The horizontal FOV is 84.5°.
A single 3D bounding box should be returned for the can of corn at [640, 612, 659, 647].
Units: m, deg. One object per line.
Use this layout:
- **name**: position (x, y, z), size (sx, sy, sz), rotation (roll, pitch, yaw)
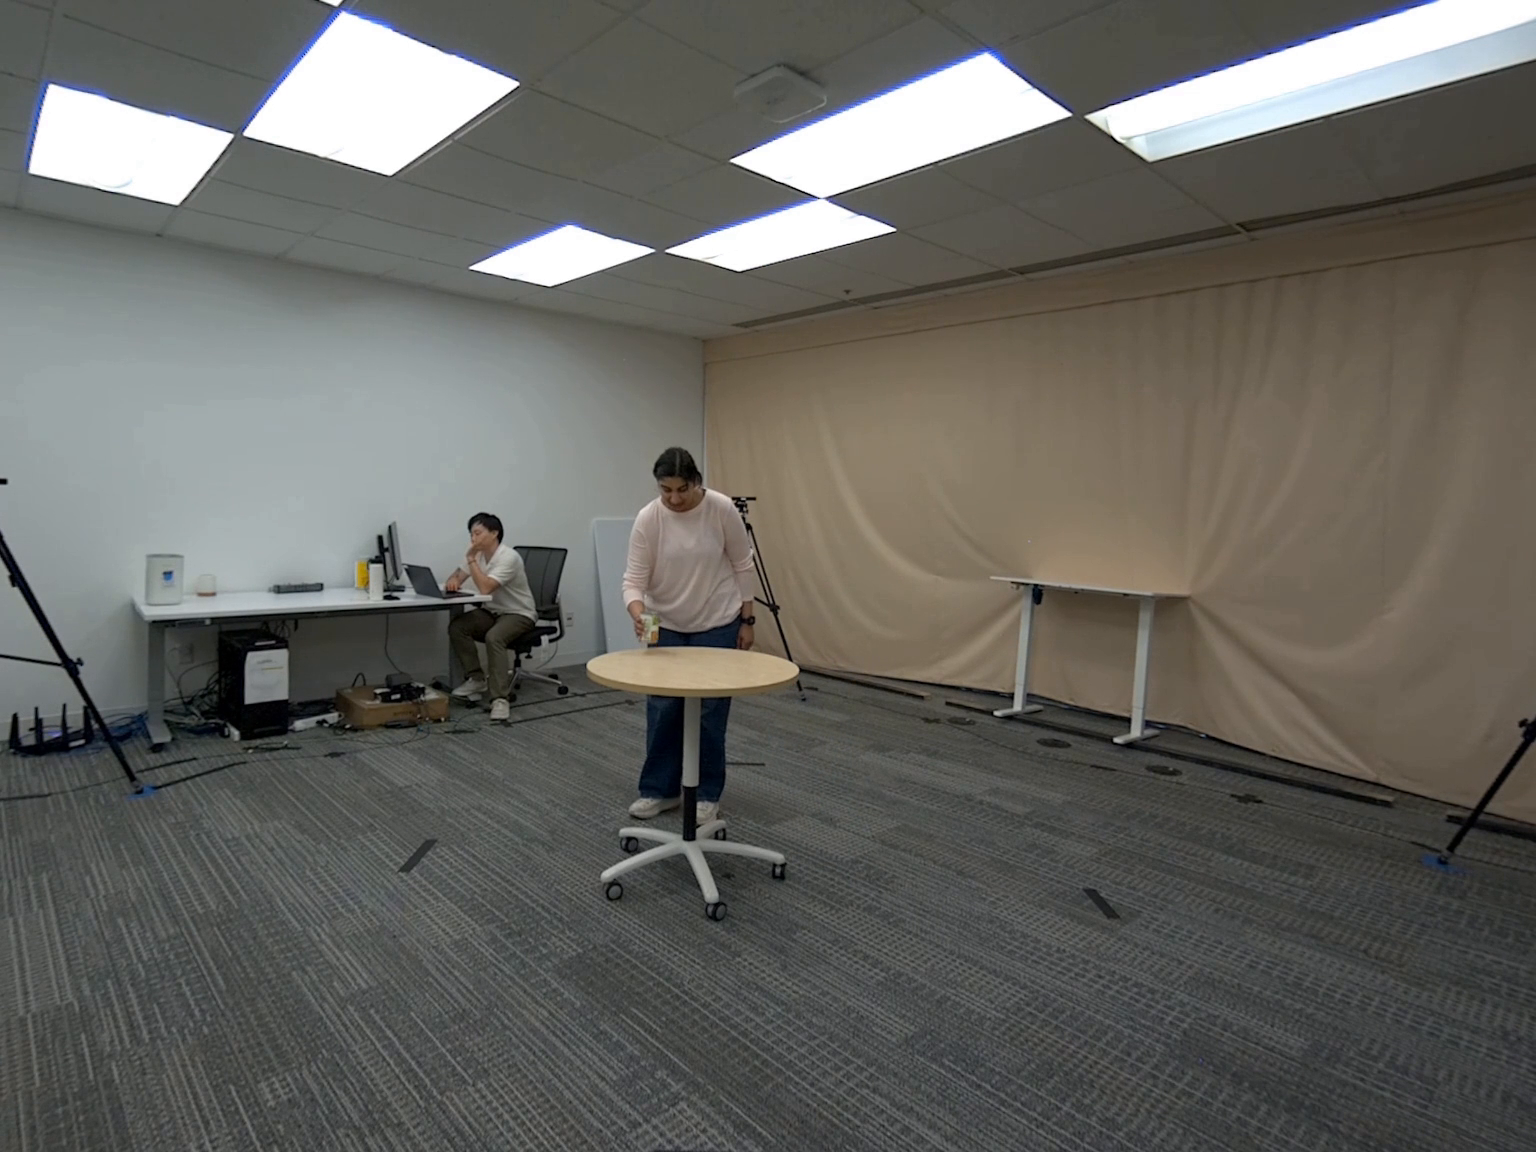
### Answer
- **can of corn**: position (-0.480, 0.196, 3.244), size (0.074, 0.110, 0.074), rotation (4, 6, -2)
